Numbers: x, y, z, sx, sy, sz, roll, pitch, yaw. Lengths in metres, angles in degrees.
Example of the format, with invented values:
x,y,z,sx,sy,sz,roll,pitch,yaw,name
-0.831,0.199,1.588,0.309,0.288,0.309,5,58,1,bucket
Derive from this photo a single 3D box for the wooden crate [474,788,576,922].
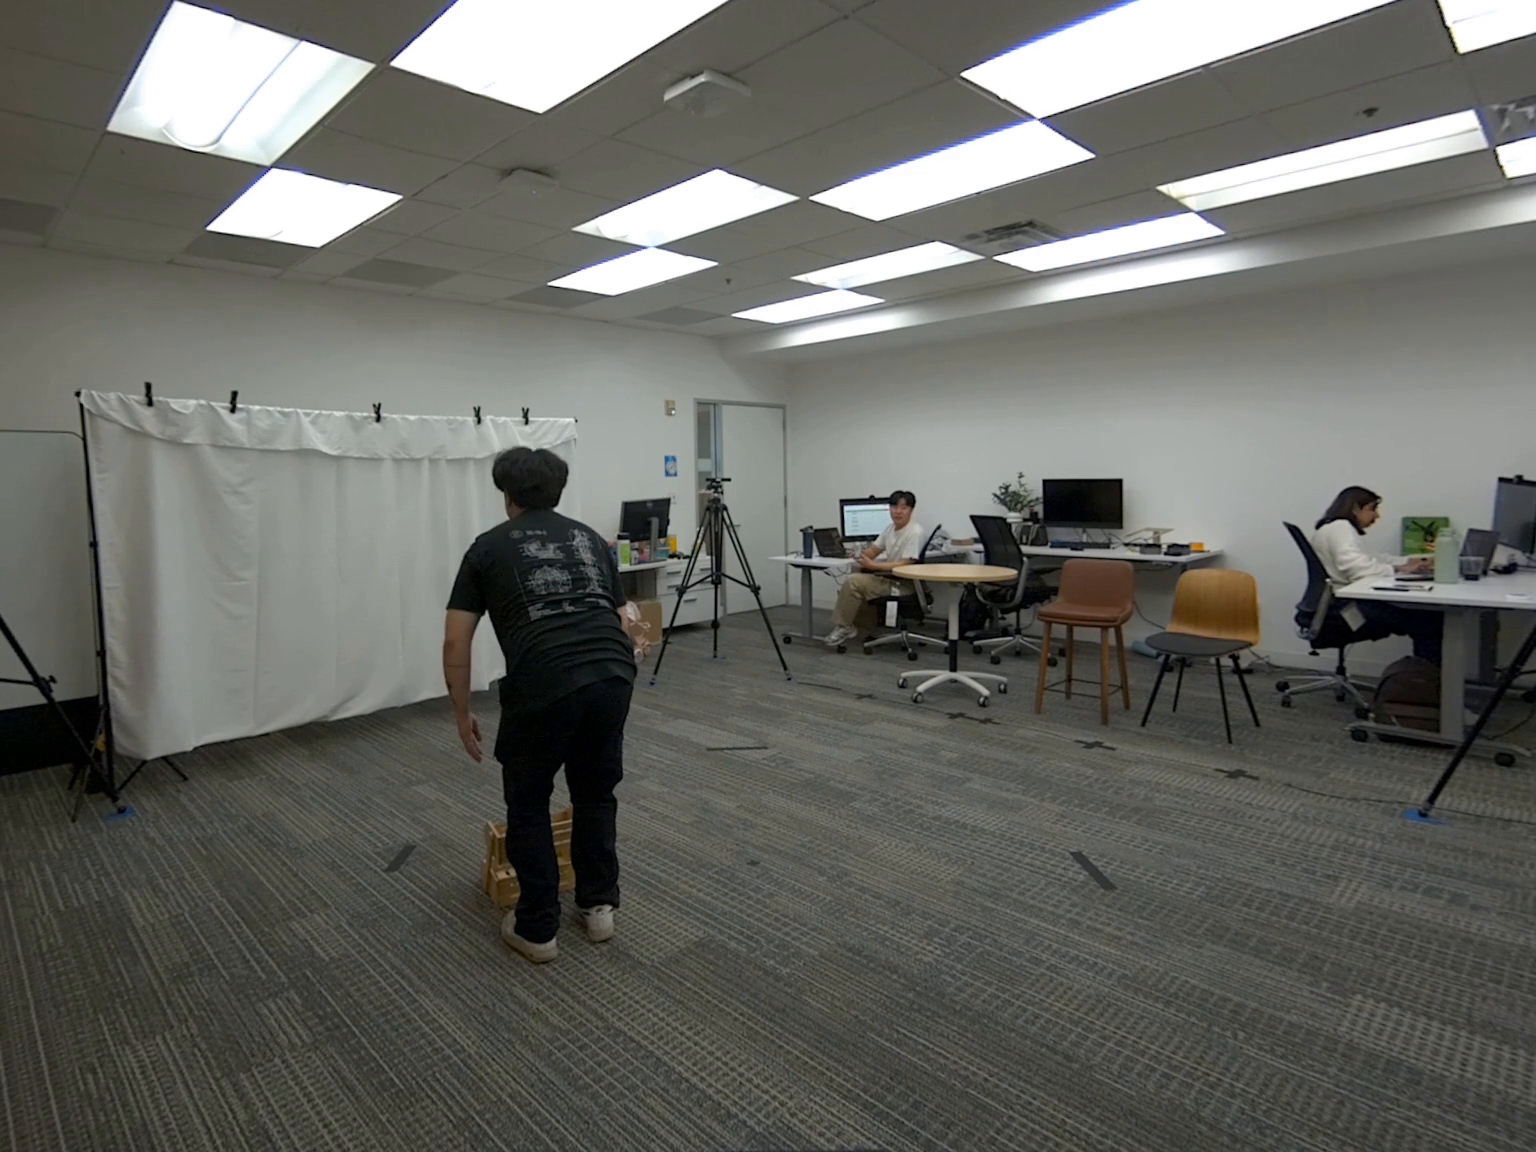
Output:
x,y,z,sx,sy,sz,roll,pitch,yaw,name
-0.812,0.944,2.956,0.317,0.272,0.311,-5,7,-30,wooden crate
